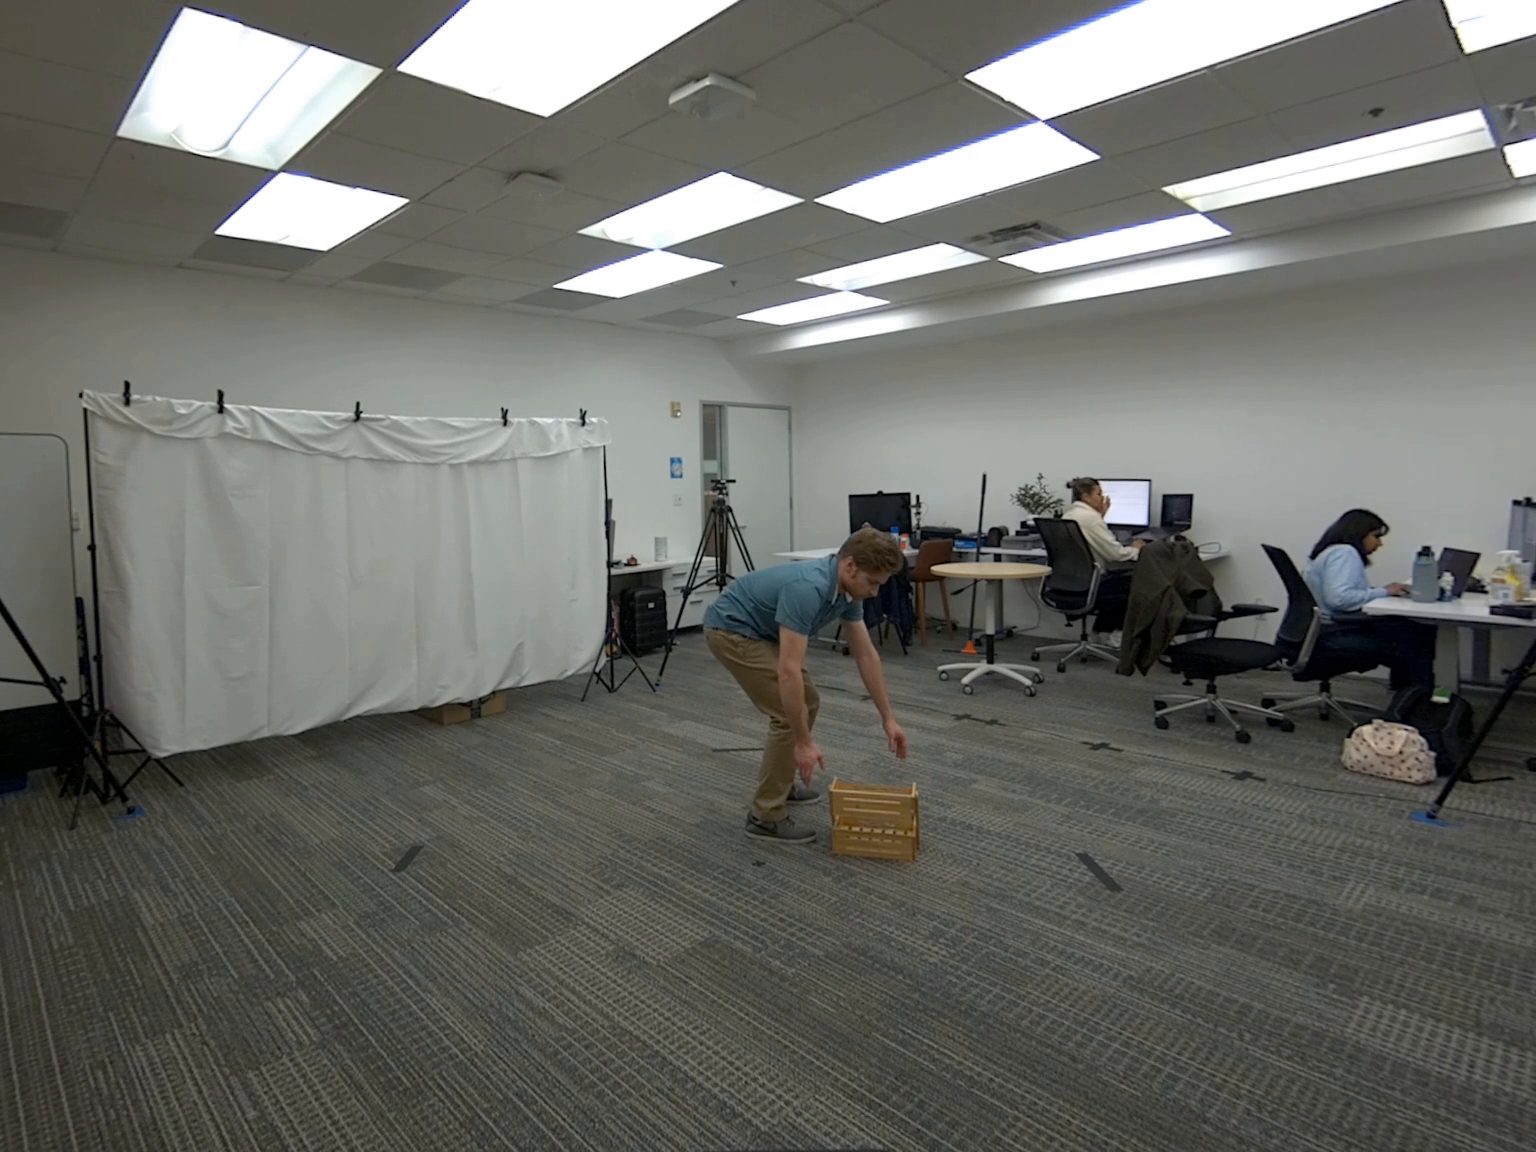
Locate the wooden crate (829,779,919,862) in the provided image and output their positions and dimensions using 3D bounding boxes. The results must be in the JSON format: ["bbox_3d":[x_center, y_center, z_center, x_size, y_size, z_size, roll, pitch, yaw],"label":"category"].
[{"bbox_3d":[0.407,0.892,3.234,0.329,0.272,0.299,-1,5,13],"label":"wooden crate"}]
